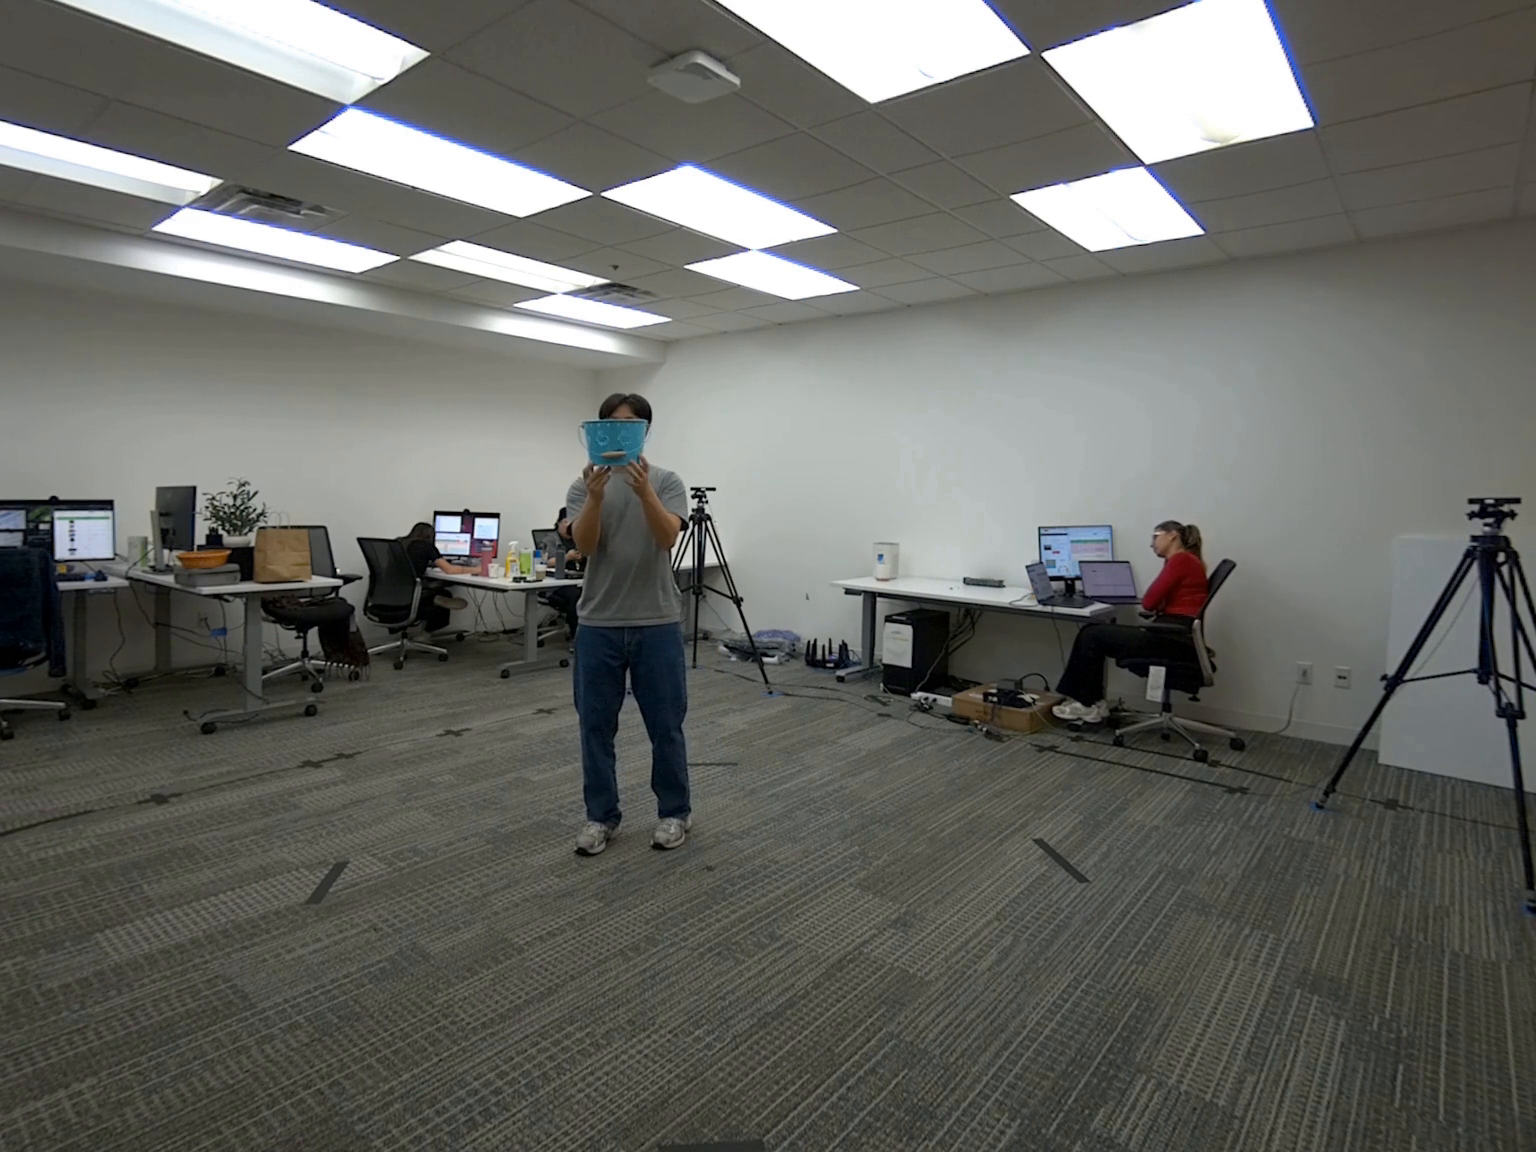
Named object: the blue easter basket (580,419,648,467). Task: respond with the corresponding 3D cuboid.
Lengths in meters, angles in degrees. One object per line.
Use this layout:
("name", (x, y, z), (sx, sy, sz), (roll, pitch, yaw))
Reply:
("blue easter basket", (-0.545, -0.464, 2.933), (0.243, 0.155, 0.245), (-1, 7, -2))
